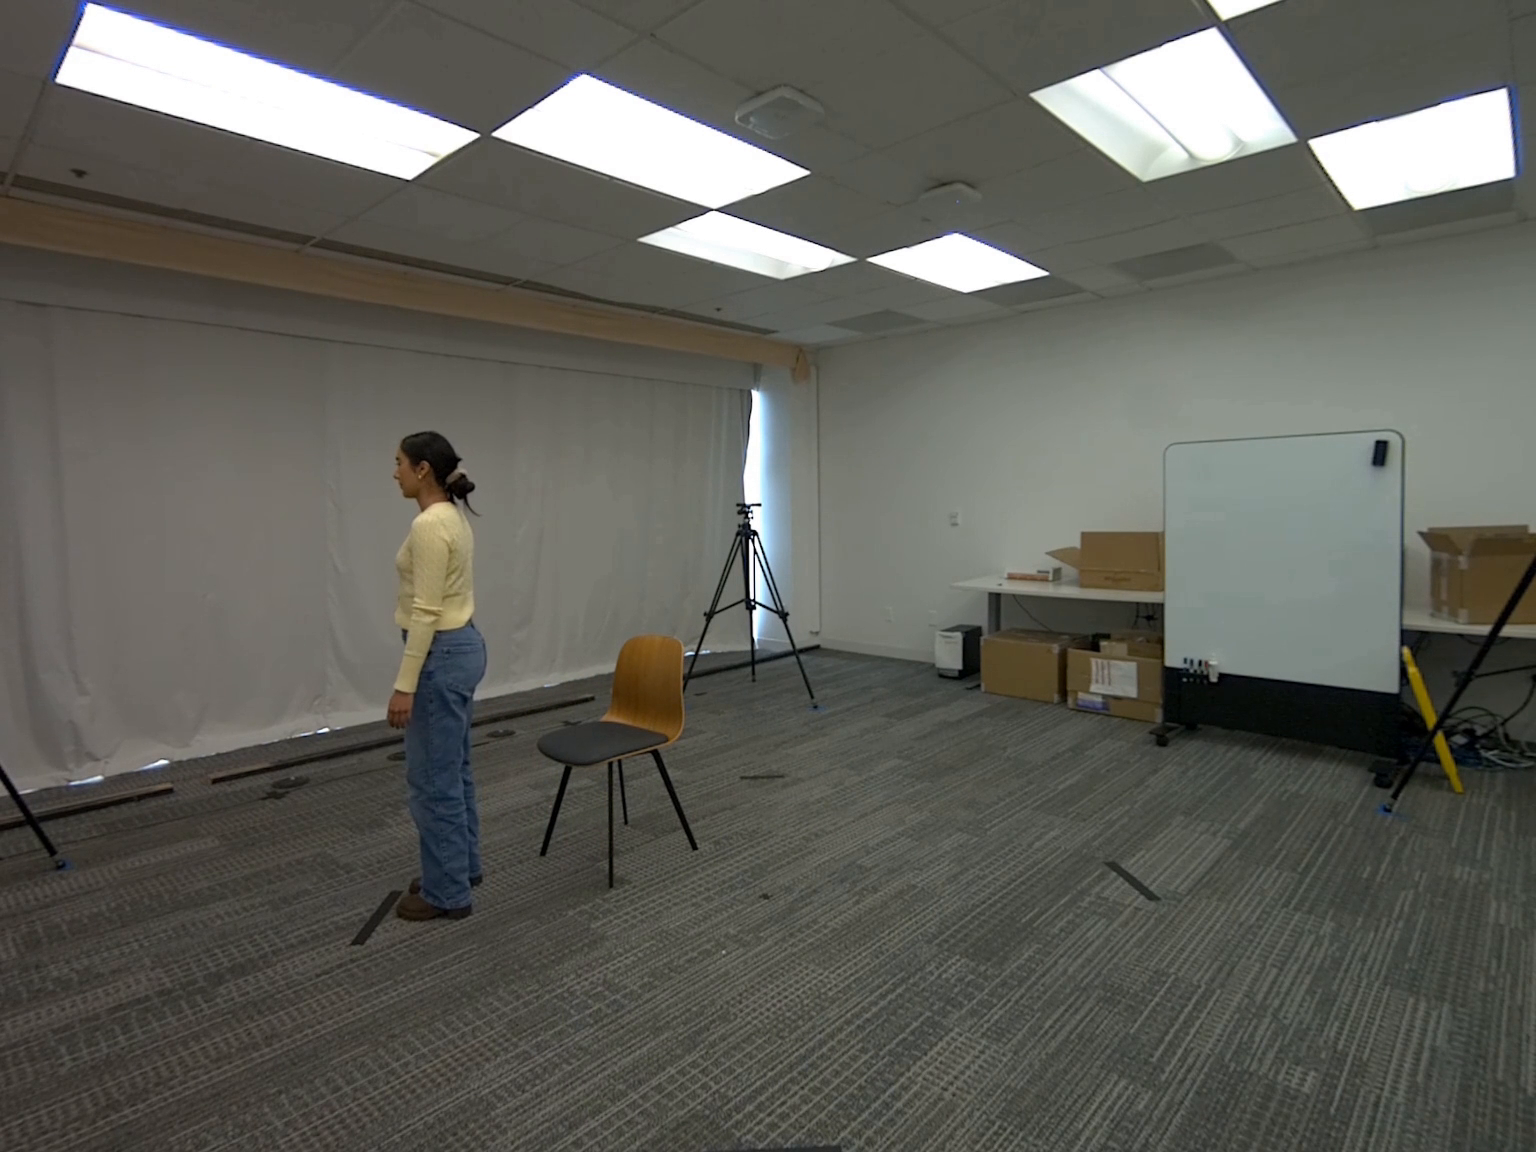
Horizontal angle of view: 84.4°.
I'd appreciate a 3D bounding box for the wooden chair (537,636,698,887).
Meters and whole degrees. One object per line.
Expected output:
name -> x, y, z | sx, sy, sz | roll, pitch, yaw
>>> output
wooden chair -> -0.609, 0.691, 3.355 | 0.494, 0.877, 0.506 | 2, 1, 42
